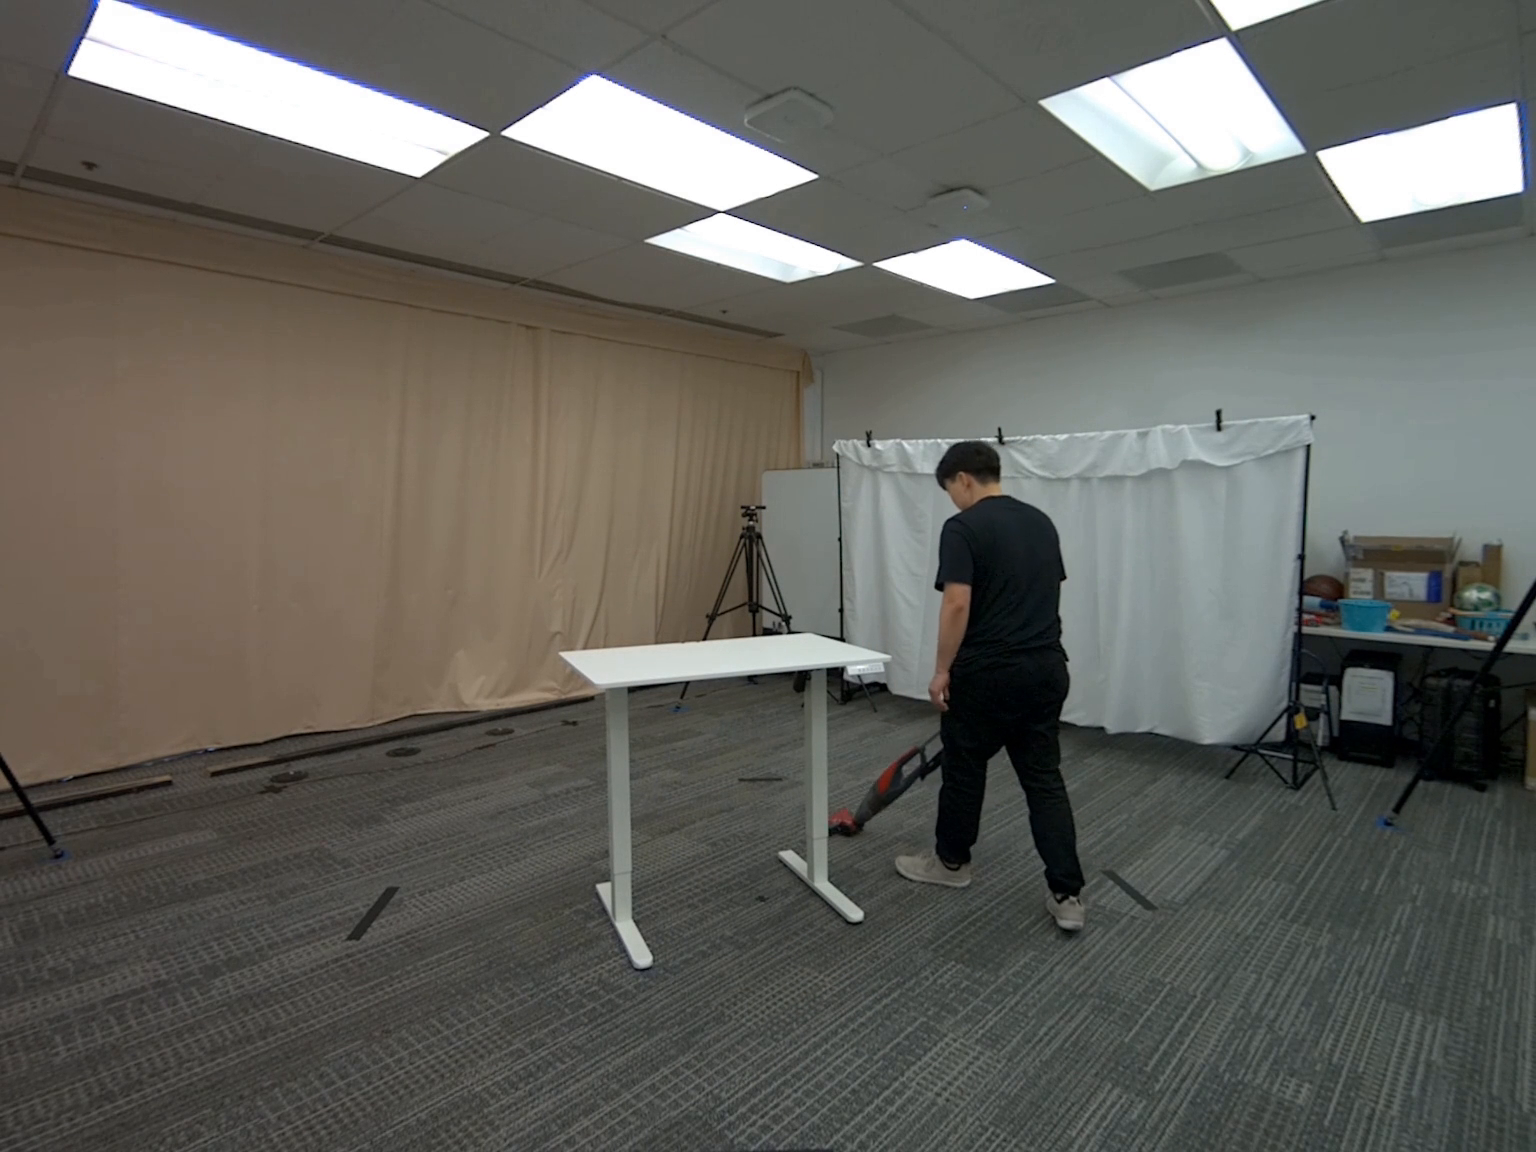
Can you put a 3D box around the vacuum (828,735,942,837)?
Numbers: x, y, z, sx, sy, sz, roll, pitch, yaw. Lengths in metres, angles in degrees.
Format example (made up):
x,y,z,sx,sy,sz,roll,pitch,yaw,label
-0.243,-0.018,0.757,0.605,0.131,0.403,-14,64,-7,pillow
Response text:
x,y,z,sx,sy,sz,roll,pitch,yaw,label
0.629,0.729,3.390,1.056,0.147,0.246,-47,-17,27,vacuum
